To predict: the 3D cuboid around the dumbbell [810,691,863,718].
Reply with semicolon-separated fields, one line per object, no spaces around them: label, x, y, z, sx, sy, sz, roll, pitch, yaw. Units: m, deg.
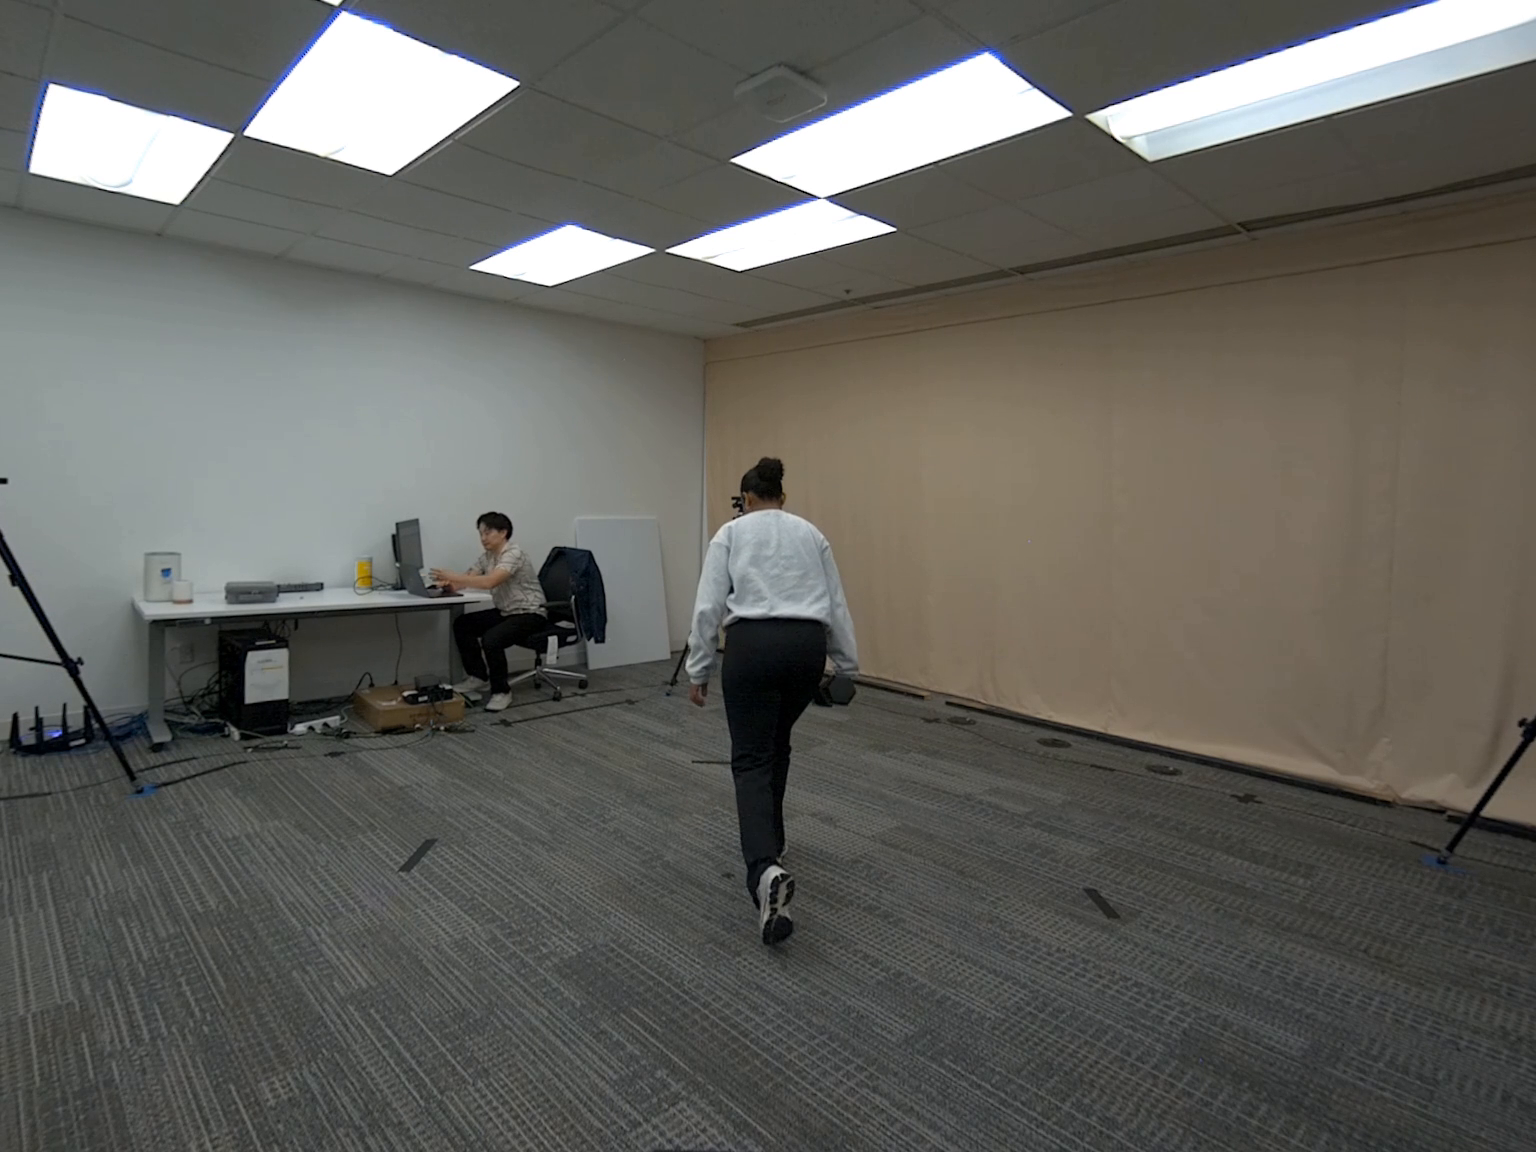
dumbbell;0.237;0.450;3.183;0.108;0.124;0.293;-21;-5;-13
